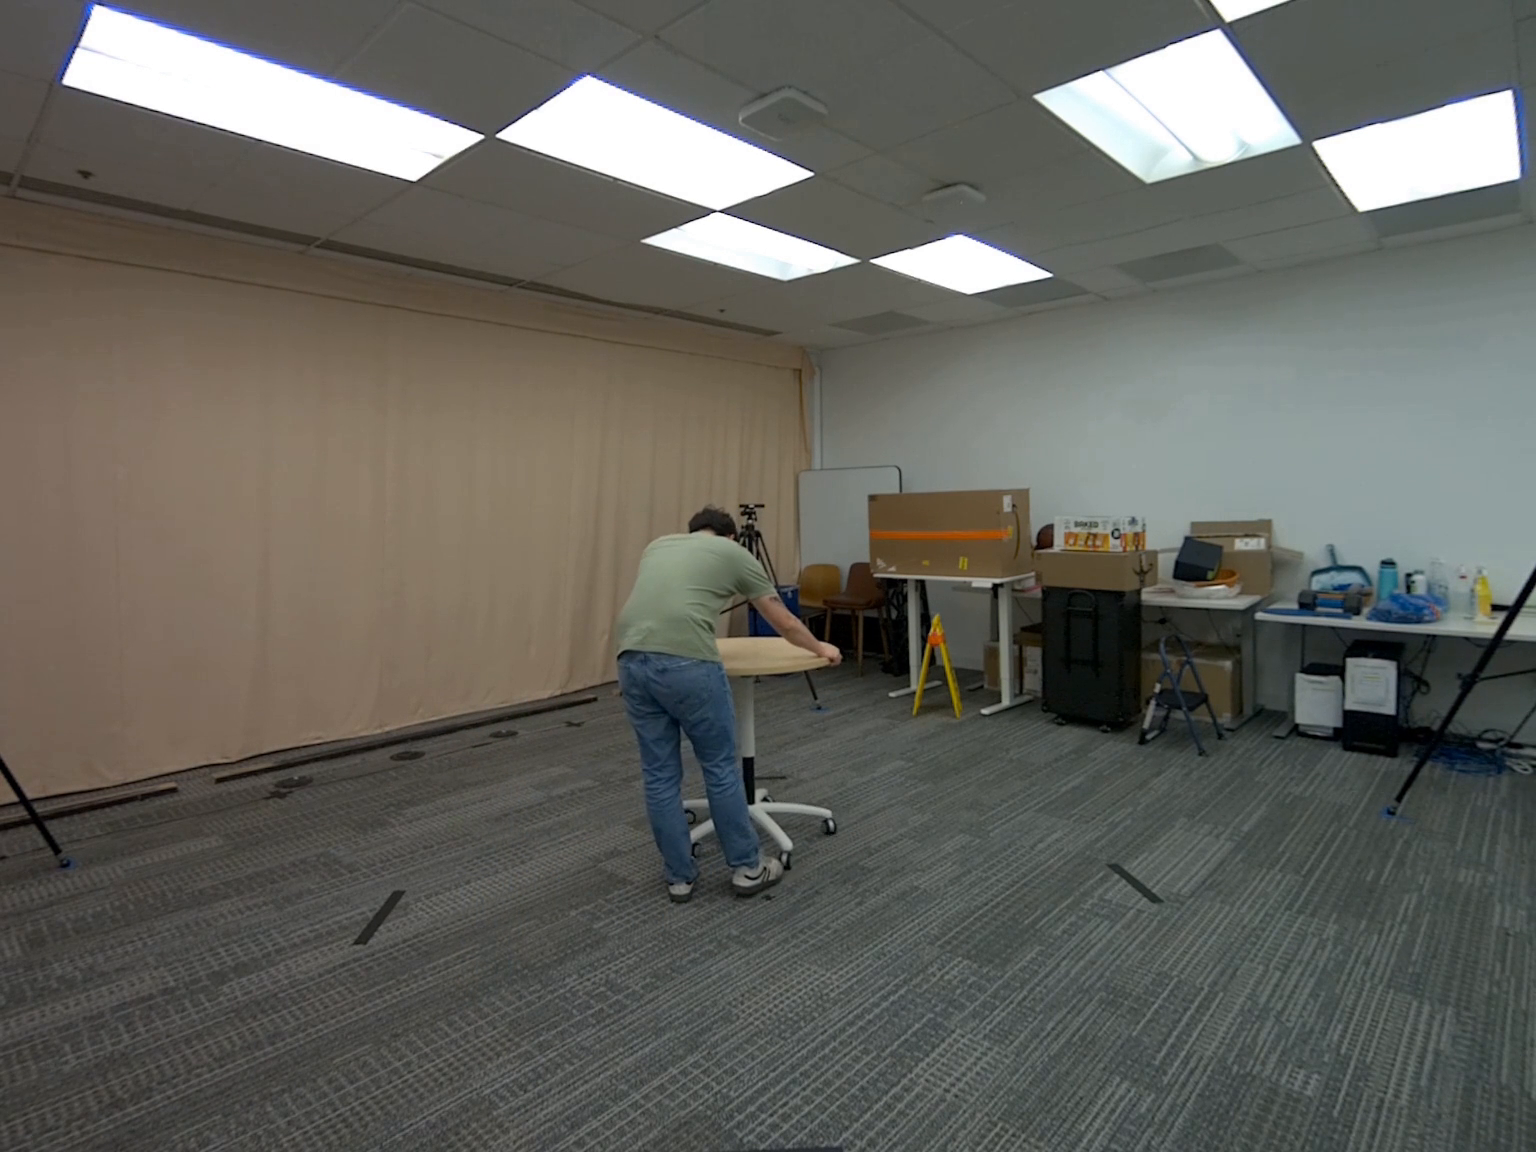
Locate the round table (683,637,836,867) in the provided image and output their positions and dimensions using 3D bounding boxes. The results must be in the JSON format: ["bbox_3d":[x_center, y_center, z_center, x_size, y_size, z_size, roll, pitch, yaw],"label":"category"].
[{"bbox_3d":[-0.074,0.707,3.520,0.763,0.792,0.766,-2,3,-2],"label":"round table"}]
